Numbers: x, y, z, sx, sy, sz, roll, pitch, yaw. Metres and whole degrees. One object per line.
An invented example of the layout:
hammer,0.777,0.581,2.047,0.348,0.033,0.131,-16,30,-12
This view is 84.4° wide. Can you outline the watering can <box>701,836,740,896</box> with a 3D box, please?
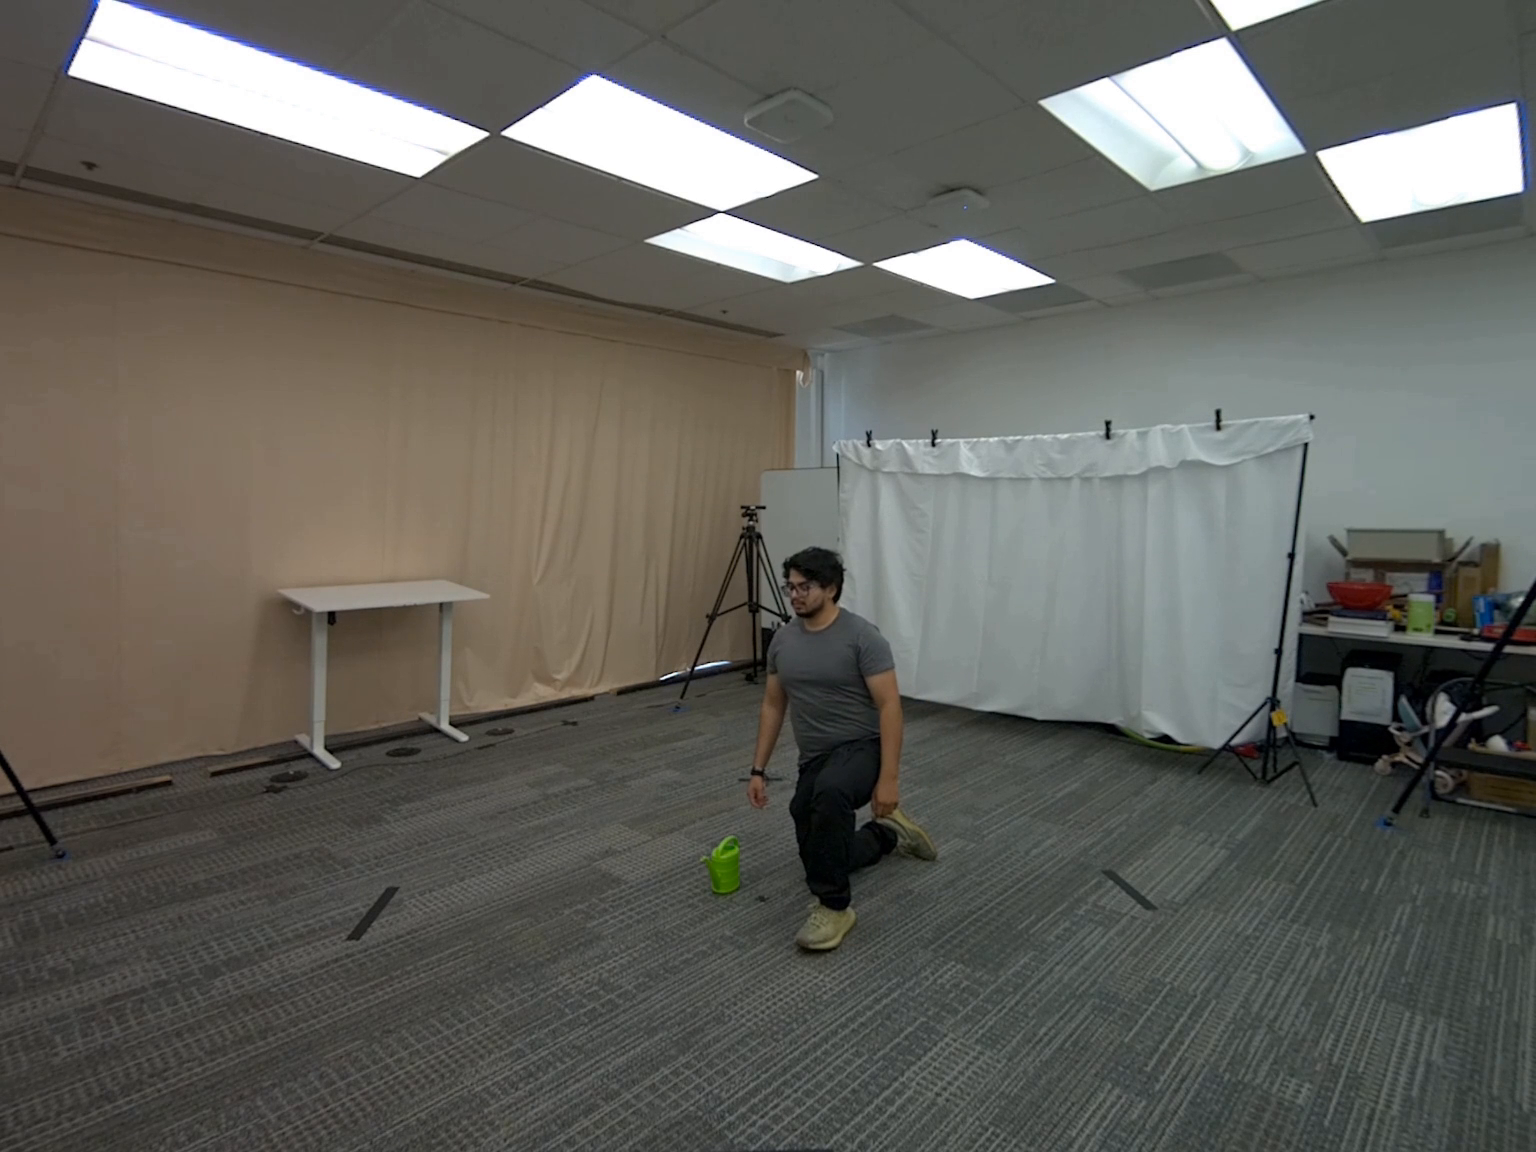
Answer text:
watering can,-0.178,1.053,3.037,0.101,0.176,0.270,1,4,39
